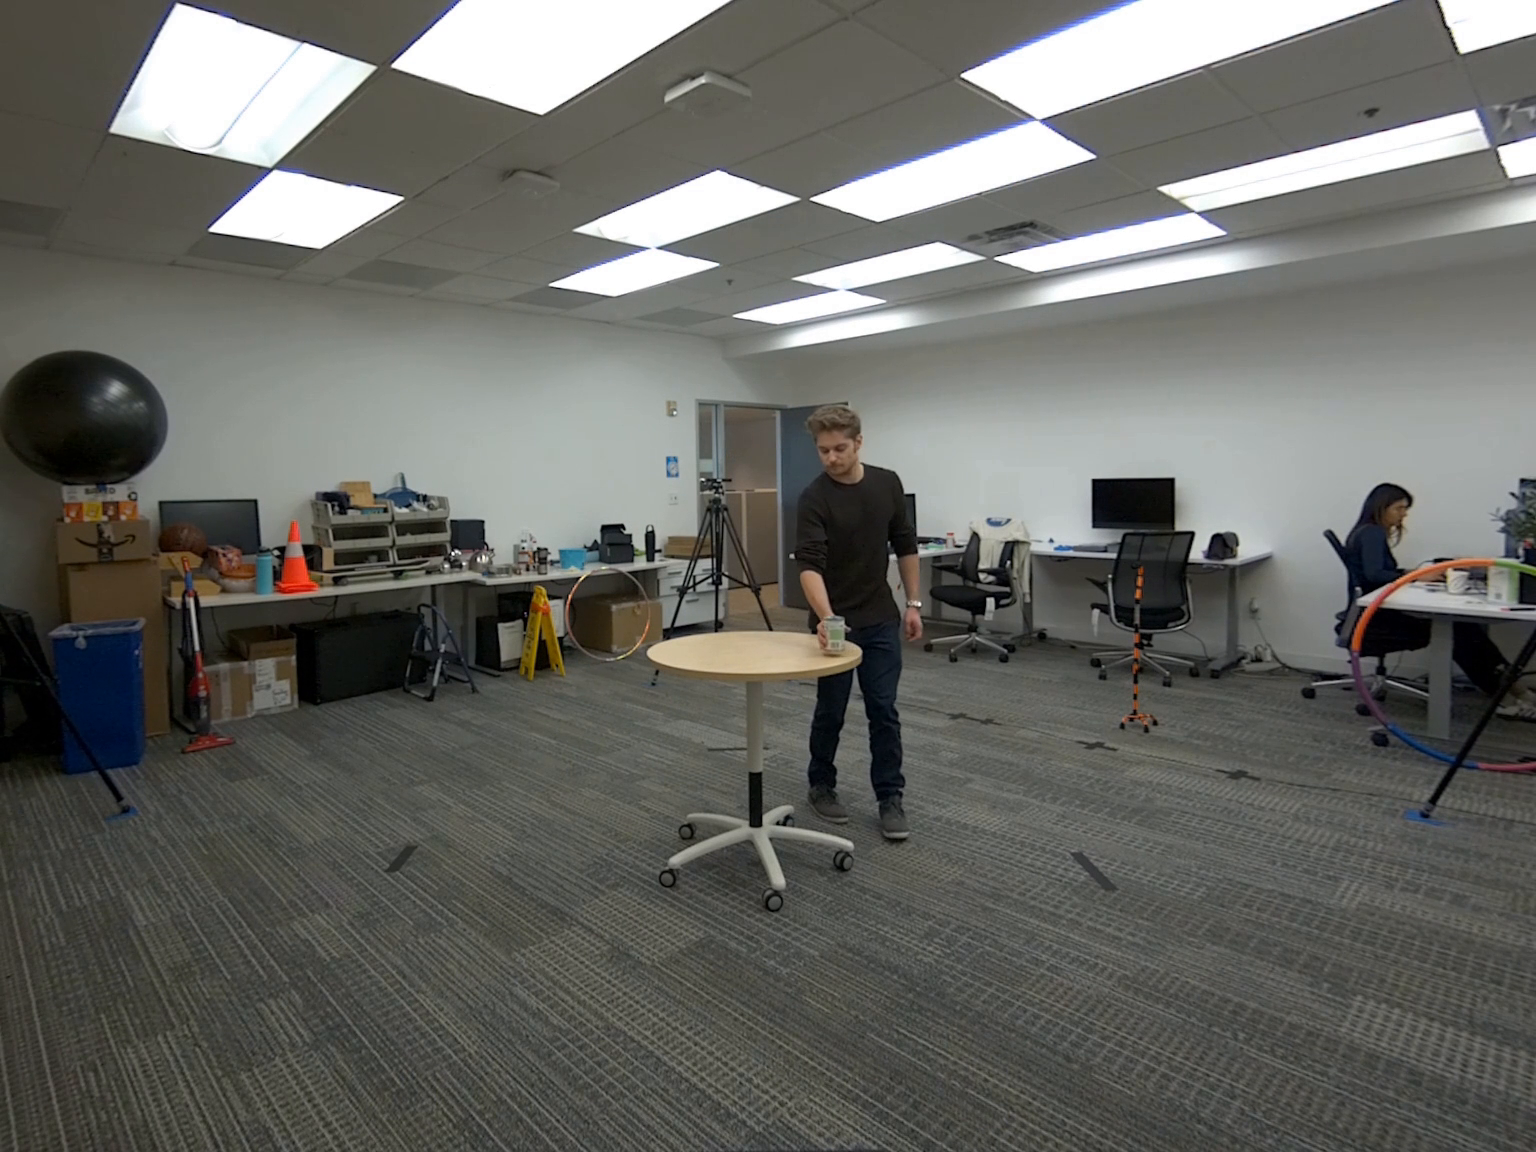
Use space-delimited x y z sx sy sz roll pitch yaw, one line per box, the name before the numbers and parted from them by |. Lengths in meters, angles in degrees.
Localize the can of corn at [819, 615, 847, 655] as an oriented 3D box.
can of corn | 0.218 0.202 2.932 0.074 0.111 0.074 -2 3 -2
